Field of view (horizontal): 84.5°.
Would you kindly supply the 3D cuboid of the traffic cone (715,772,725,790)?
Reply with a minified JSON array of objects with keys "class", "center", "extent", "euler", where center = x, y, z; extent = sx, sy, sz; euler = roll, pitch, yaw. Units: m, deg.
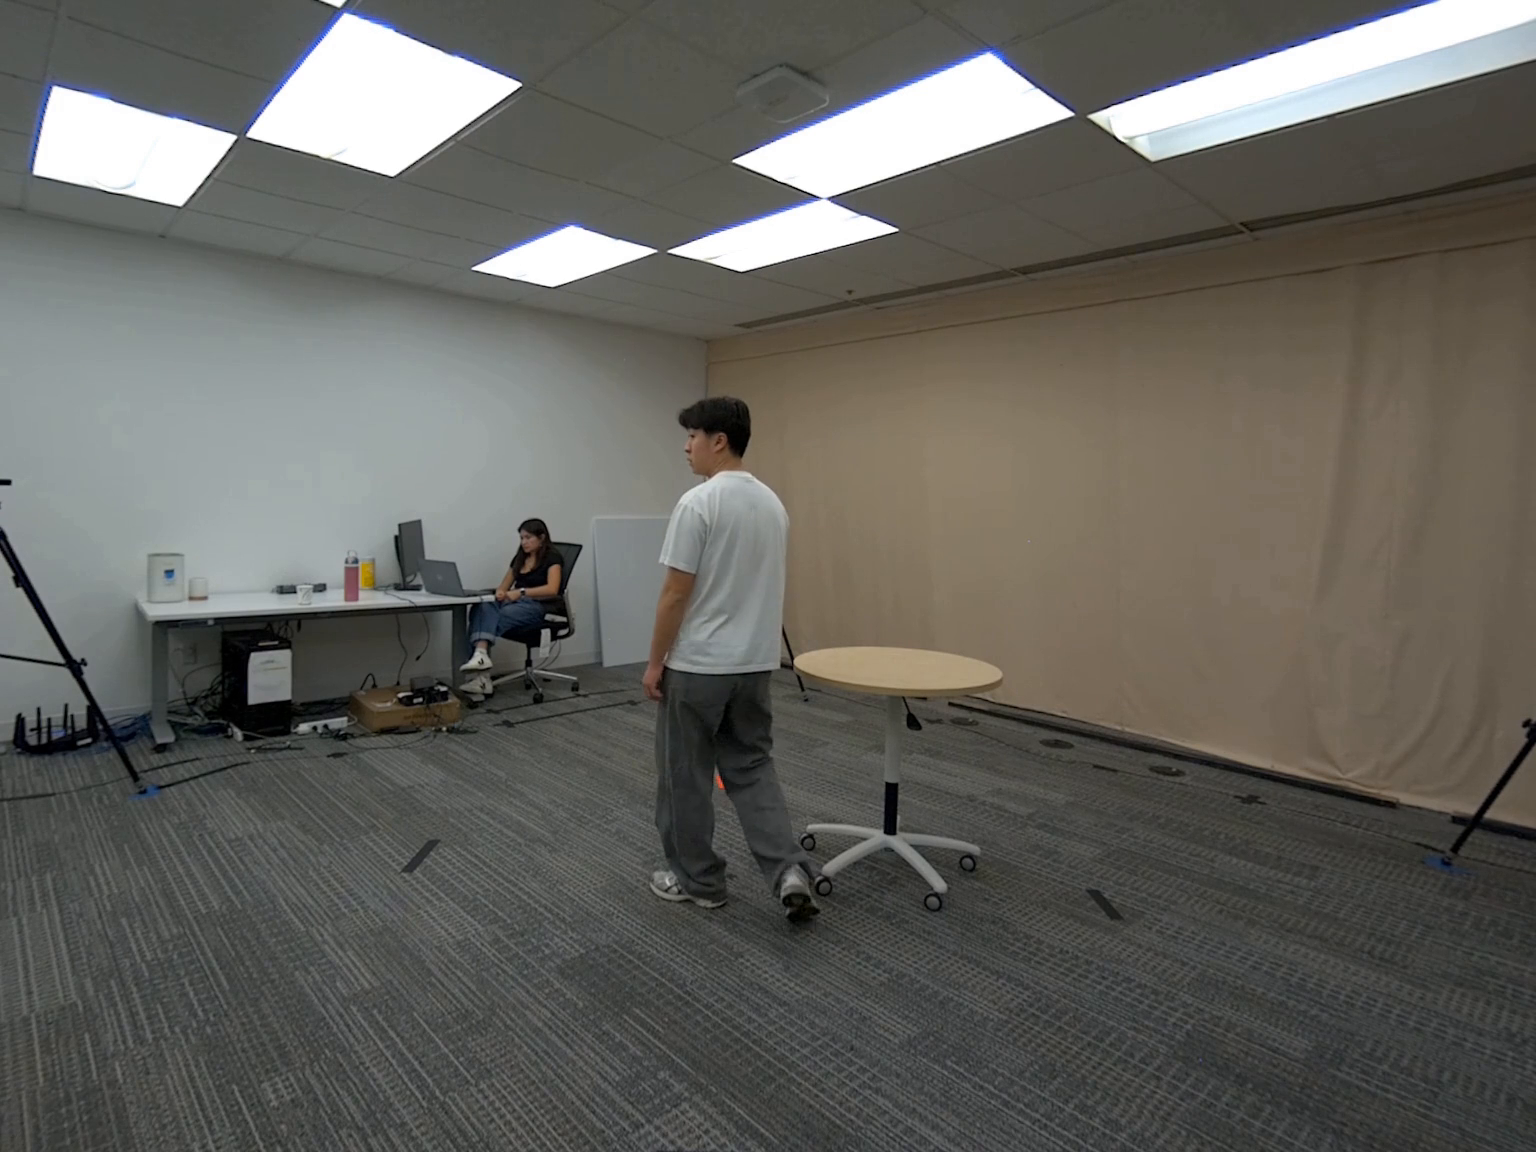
[{"class":"traffic cone","center":[-0.155,0.840,4.162],"extent":[0.201,0.383,0.207],"euler":[2,3,-11]}]
